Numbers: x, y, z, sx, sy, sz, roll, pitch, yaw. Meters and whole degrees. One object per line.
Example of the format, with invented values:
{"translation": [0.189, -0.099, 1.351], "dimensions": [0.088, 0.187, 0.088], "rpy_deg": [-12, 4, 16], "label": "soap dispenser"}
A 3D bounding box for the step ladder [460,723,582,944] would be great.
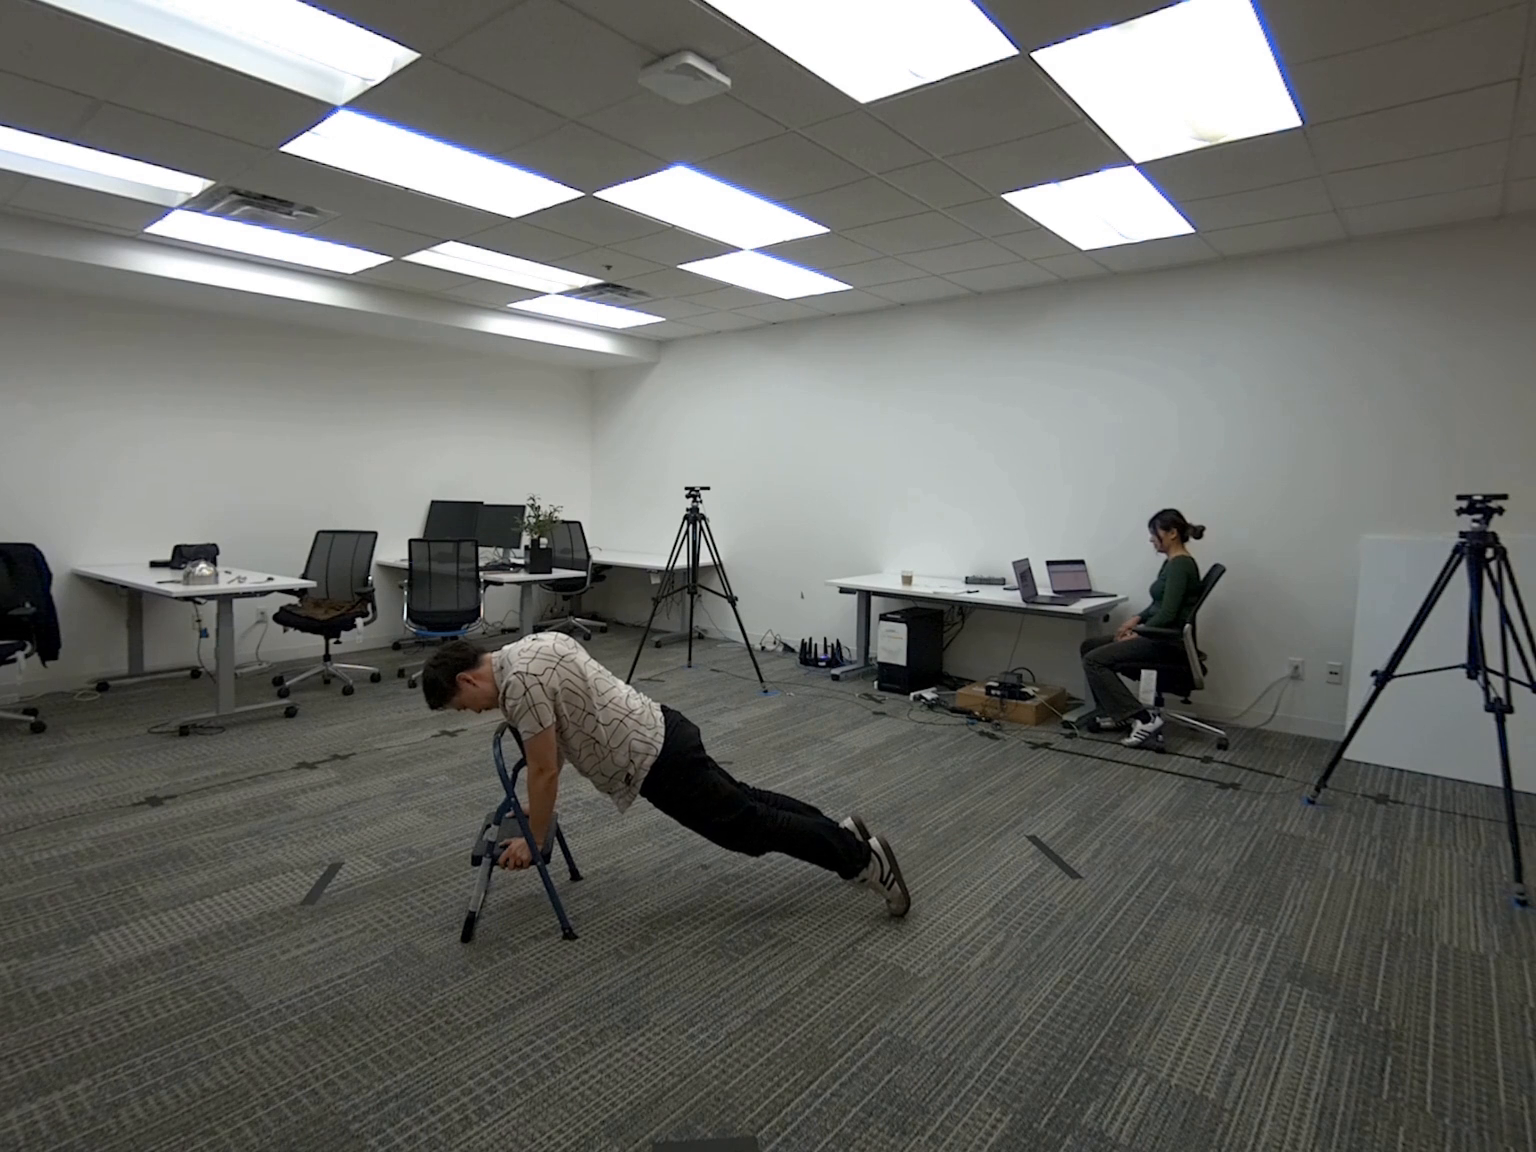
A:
{"translation": [-0.805, 0.793, 2.782], "dimensions": [0.346, 0.605, 0.436], "rpy_deg": [1, 3, -9], "label": "step ladder"}
